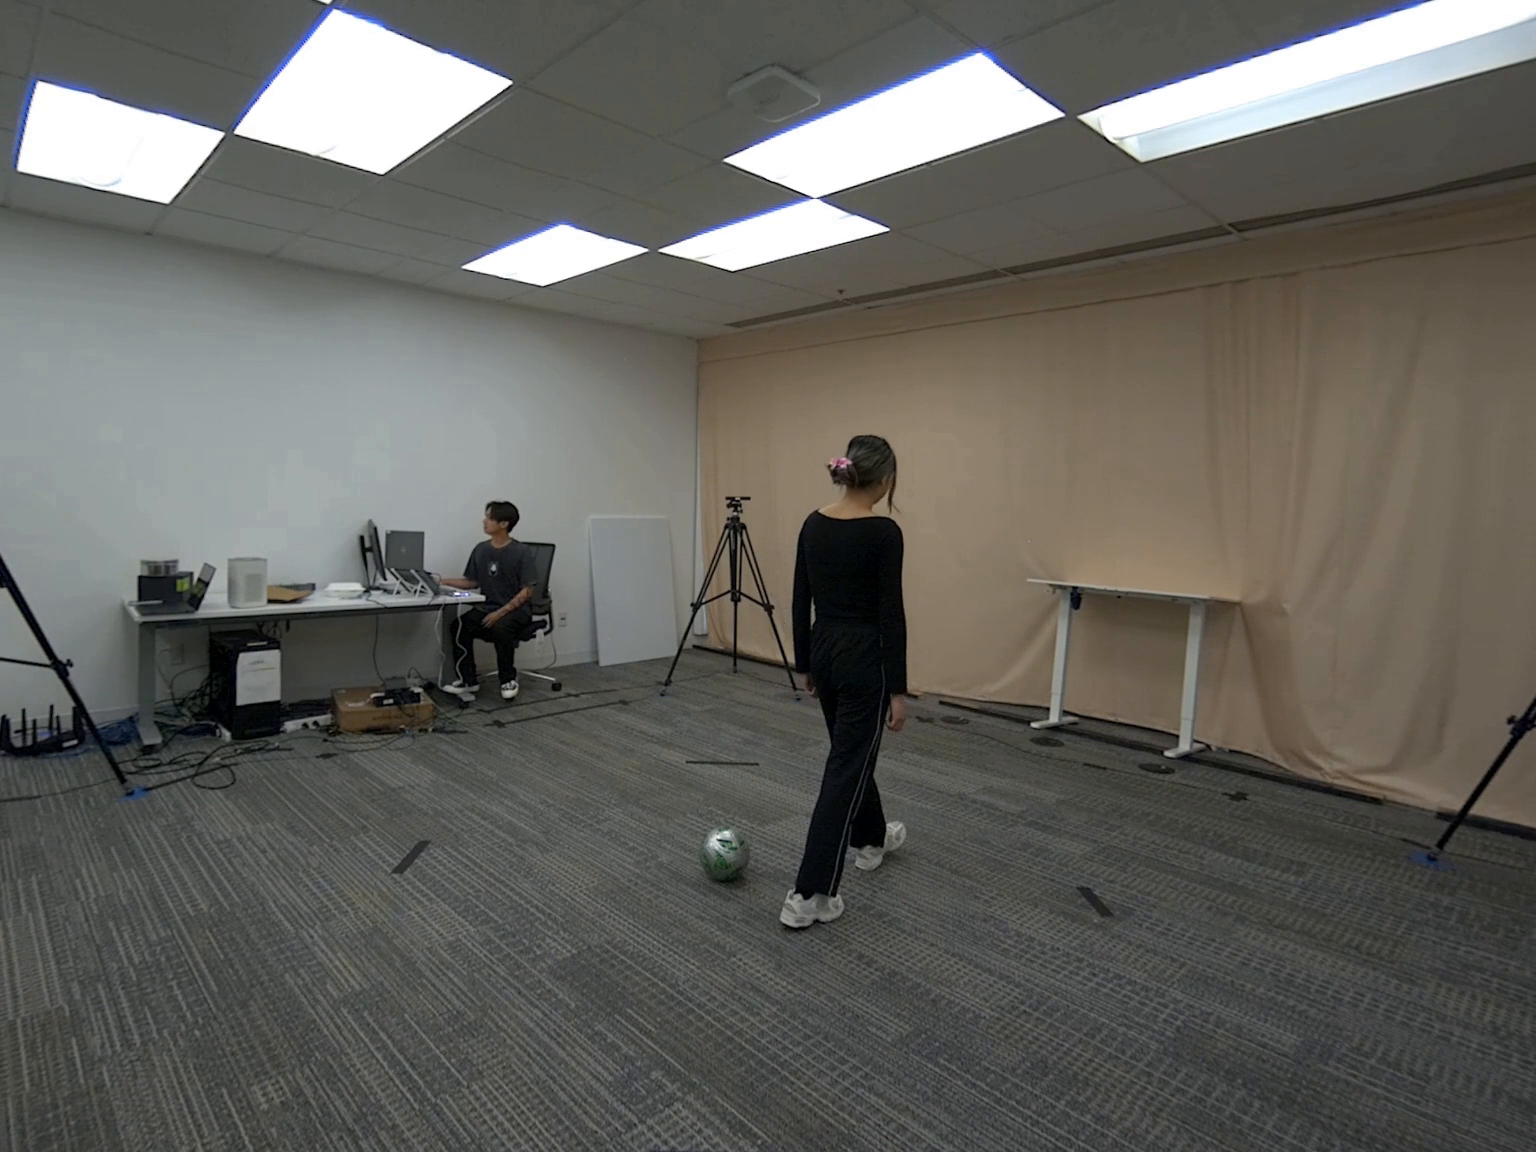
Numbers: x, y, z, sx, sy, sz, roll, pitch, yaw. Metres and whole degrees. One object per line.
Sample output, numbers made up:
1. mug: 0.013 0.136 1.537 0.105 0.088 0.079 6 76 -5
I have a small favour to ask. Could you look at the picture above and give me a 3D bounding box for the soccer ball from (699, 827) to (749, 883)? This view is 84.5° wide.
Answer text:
1. soccer ball: -0.169 1.015 3.078 0.187 0.187 0.188 1 4 -1
